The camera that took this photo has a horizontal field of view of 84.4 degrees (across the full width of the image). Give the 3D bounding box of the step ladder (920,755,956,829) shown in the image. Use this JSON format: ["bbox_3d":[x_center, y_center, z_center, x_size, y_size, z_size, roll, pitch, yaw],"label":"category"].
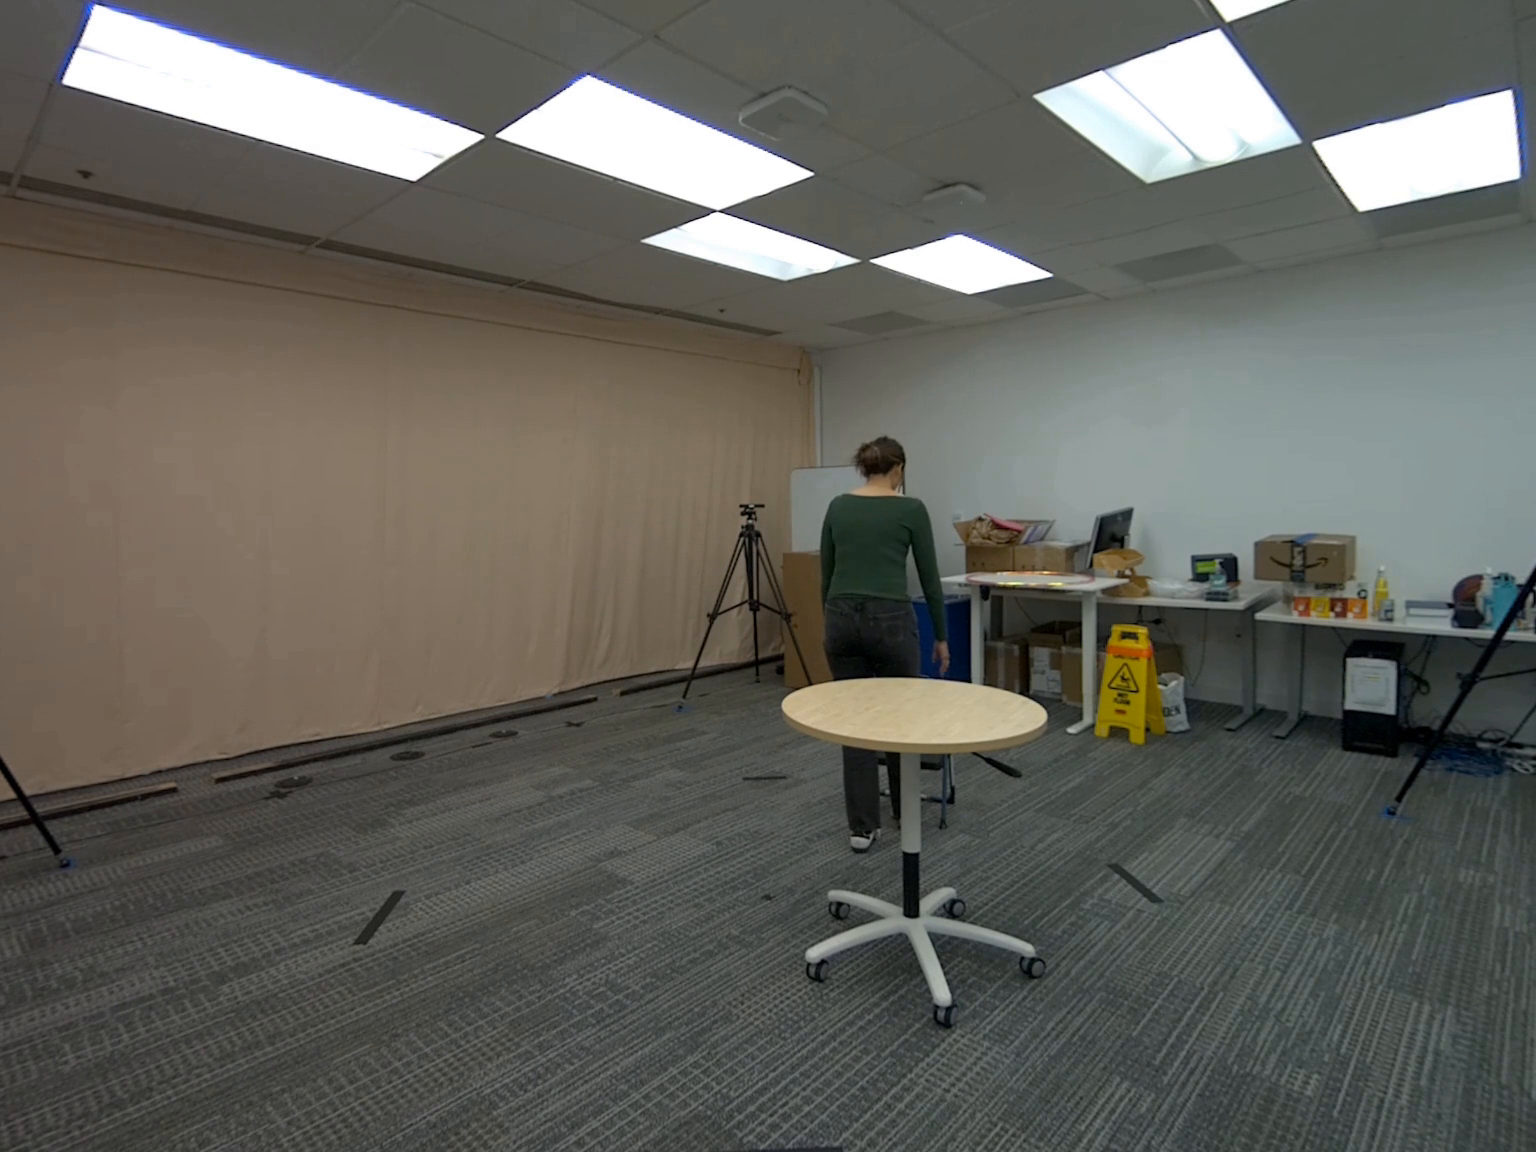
[{"bbox_3d":[0.617,0.755,3.808,0.440,0.605,0.342,1,3,21],"label":"step ladder"}]
